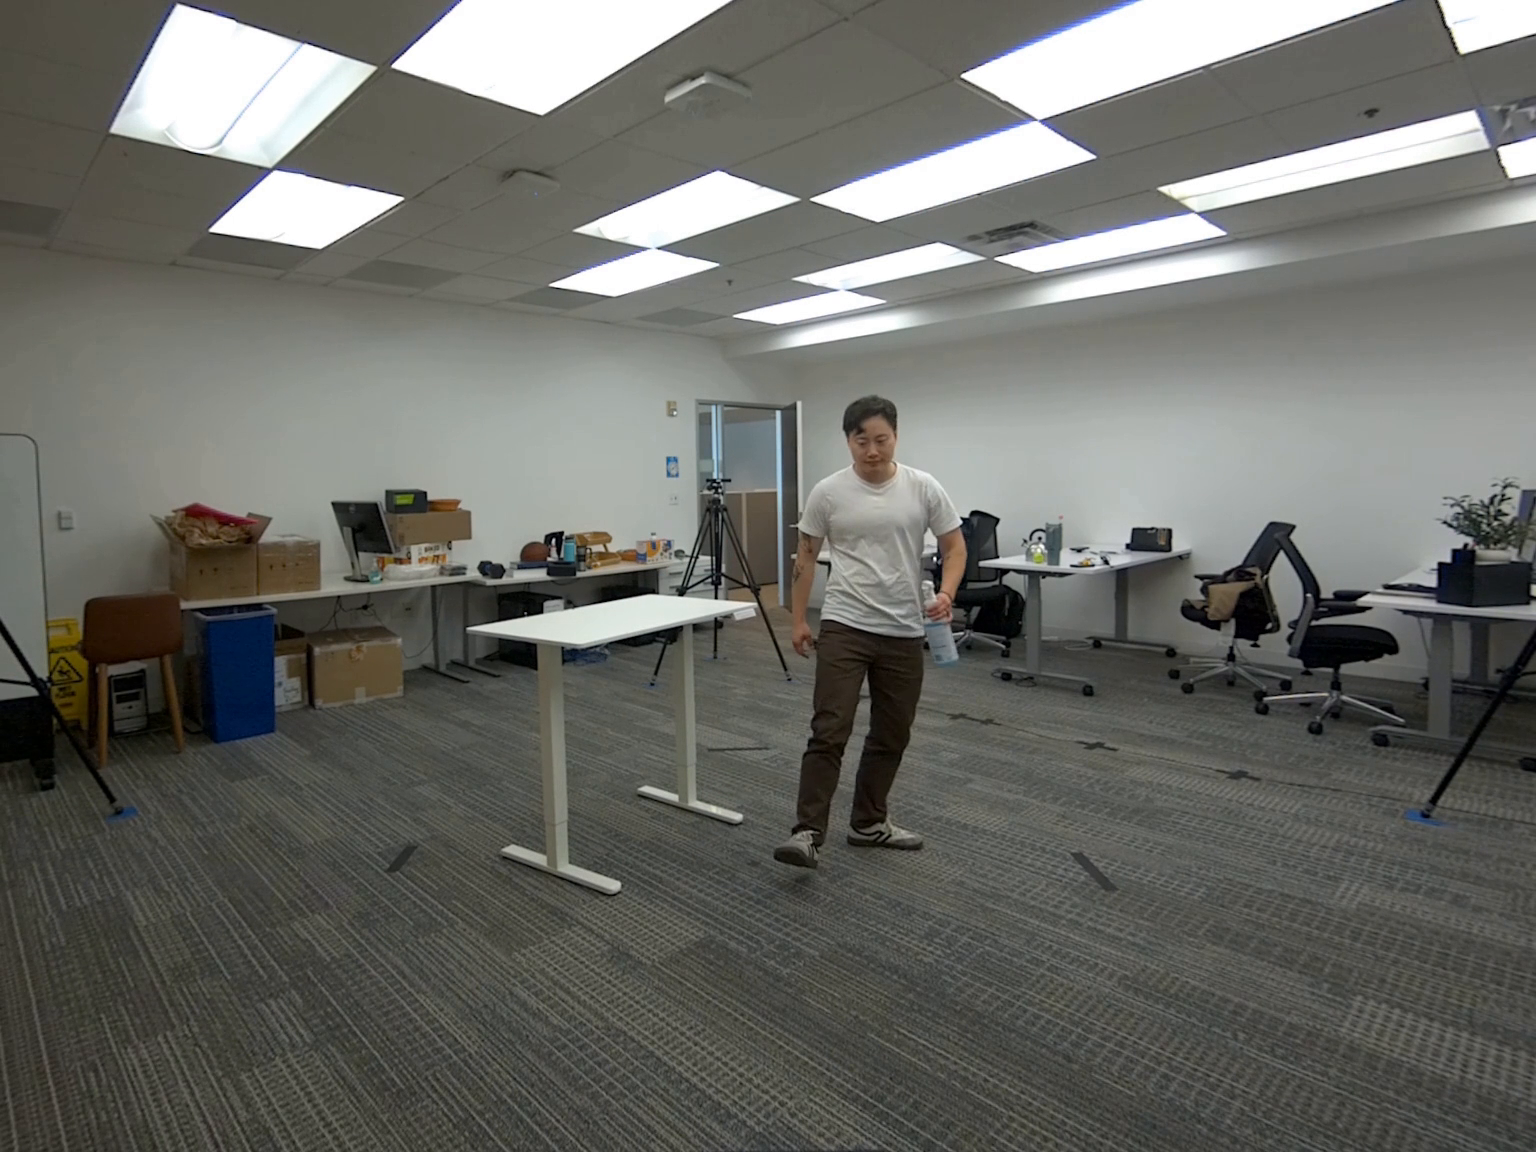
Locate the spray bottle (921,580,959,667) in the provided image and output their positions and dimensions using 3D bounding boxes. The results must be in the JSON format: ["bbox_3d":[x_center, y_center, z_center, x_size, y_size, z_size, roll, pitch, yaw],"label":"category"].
[{"bbox_3d":[0.576,0.166,2.933,0.088,0.296,0.089,-13,5,18],"label":"spray bottle"}]
